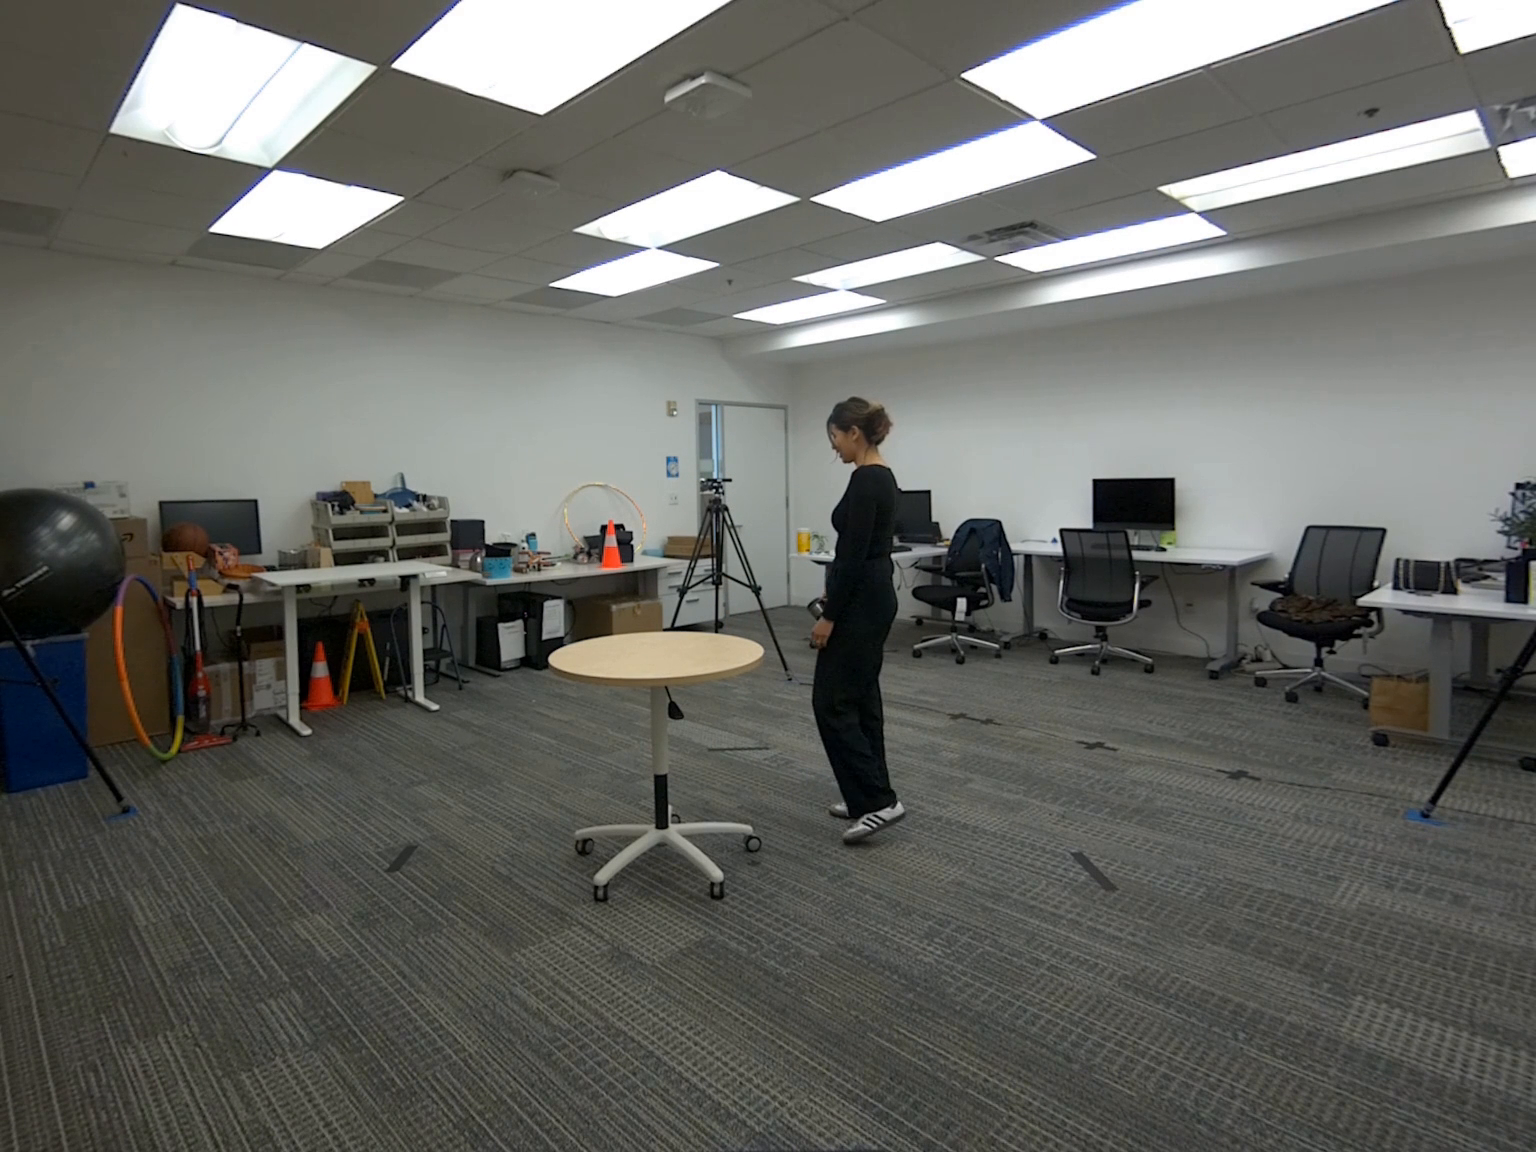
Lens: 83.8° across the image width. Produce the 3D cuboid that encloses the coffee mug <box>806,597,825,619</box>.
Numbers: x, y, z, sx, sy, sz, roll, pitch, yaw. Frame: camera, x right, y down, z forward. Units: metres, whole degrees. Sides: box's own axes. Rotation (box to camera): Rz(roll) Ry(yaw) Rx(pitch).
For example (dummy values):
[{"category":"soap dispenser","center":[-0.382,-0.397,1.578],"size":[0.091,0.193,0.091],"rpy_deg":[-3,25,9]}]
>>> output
[{"category":"coffee mug","center":[0.281,0.189,3.810],"size":[0.087,0.209,0.120],"rpy_deg":[-21,-26,-24]}]
